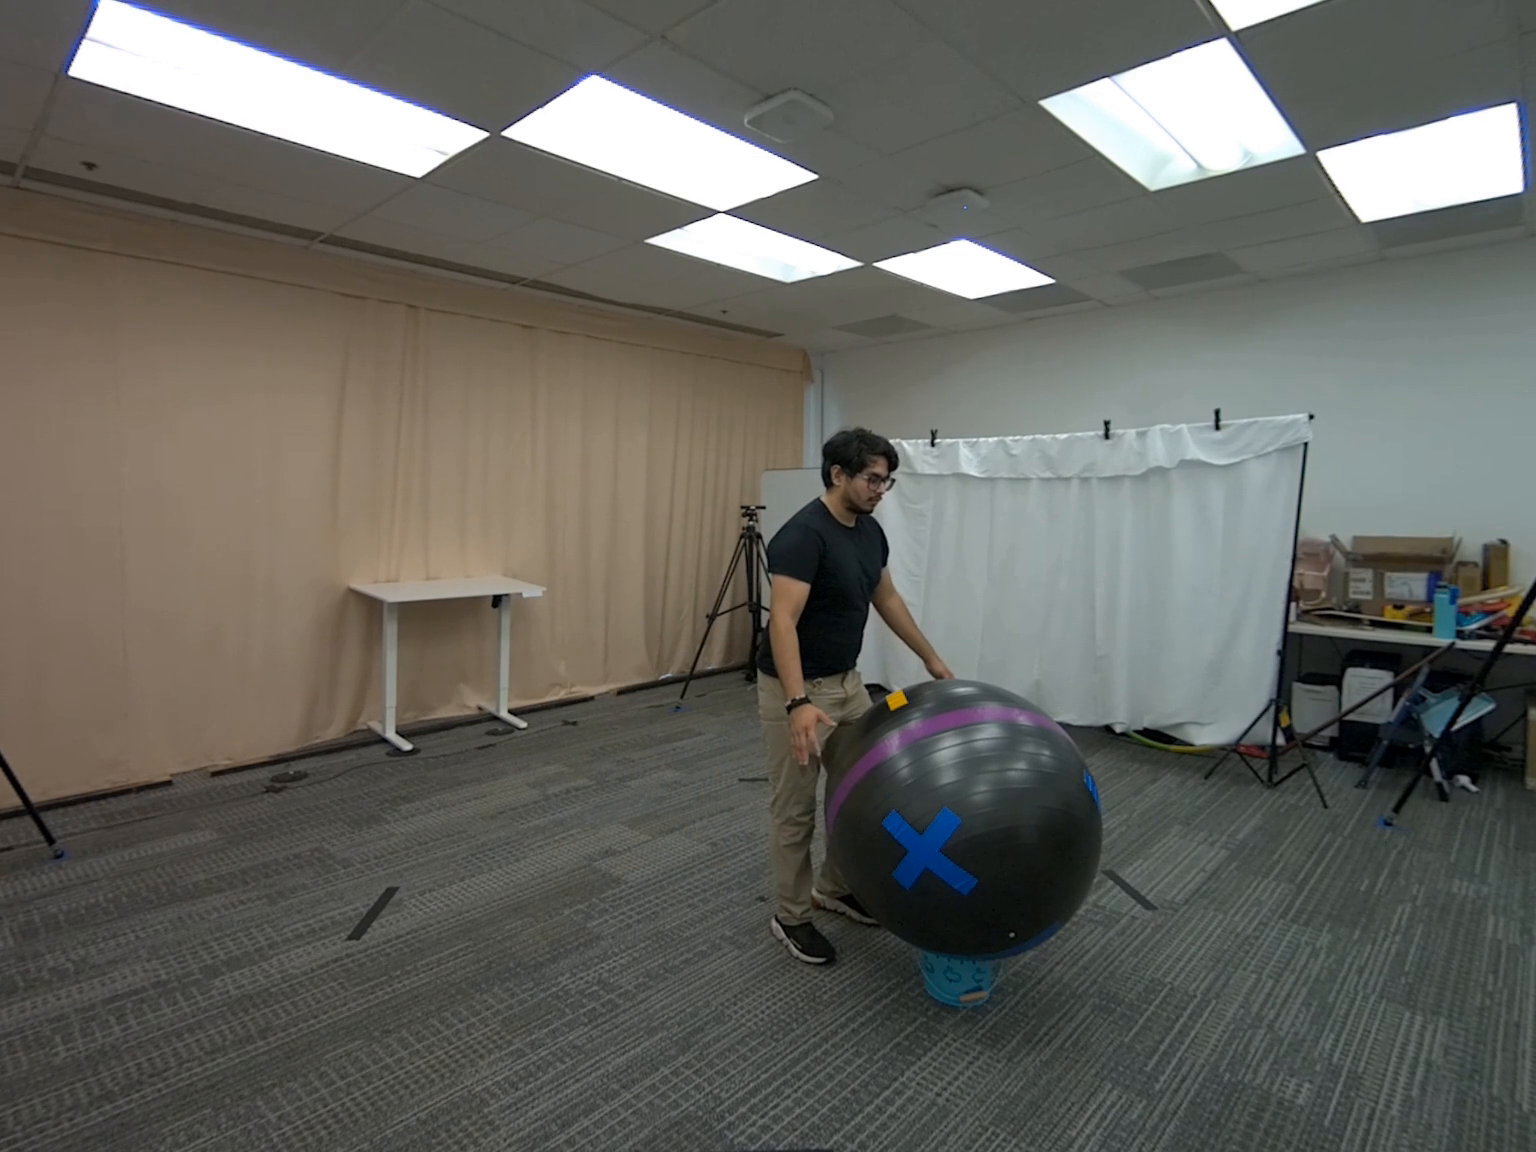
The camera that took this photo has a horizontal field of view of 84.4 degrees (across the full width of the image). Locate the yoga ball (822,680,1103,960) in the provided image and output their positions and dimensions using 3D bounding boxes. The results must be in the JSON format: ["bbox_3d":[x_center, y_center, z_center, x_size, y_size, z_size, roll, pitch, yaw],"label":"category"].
[{"bbox_3d":[0.551,0.682,2.405,0.757,0.756,0.760,0,4,-2],"label":"yoga ball"}]
